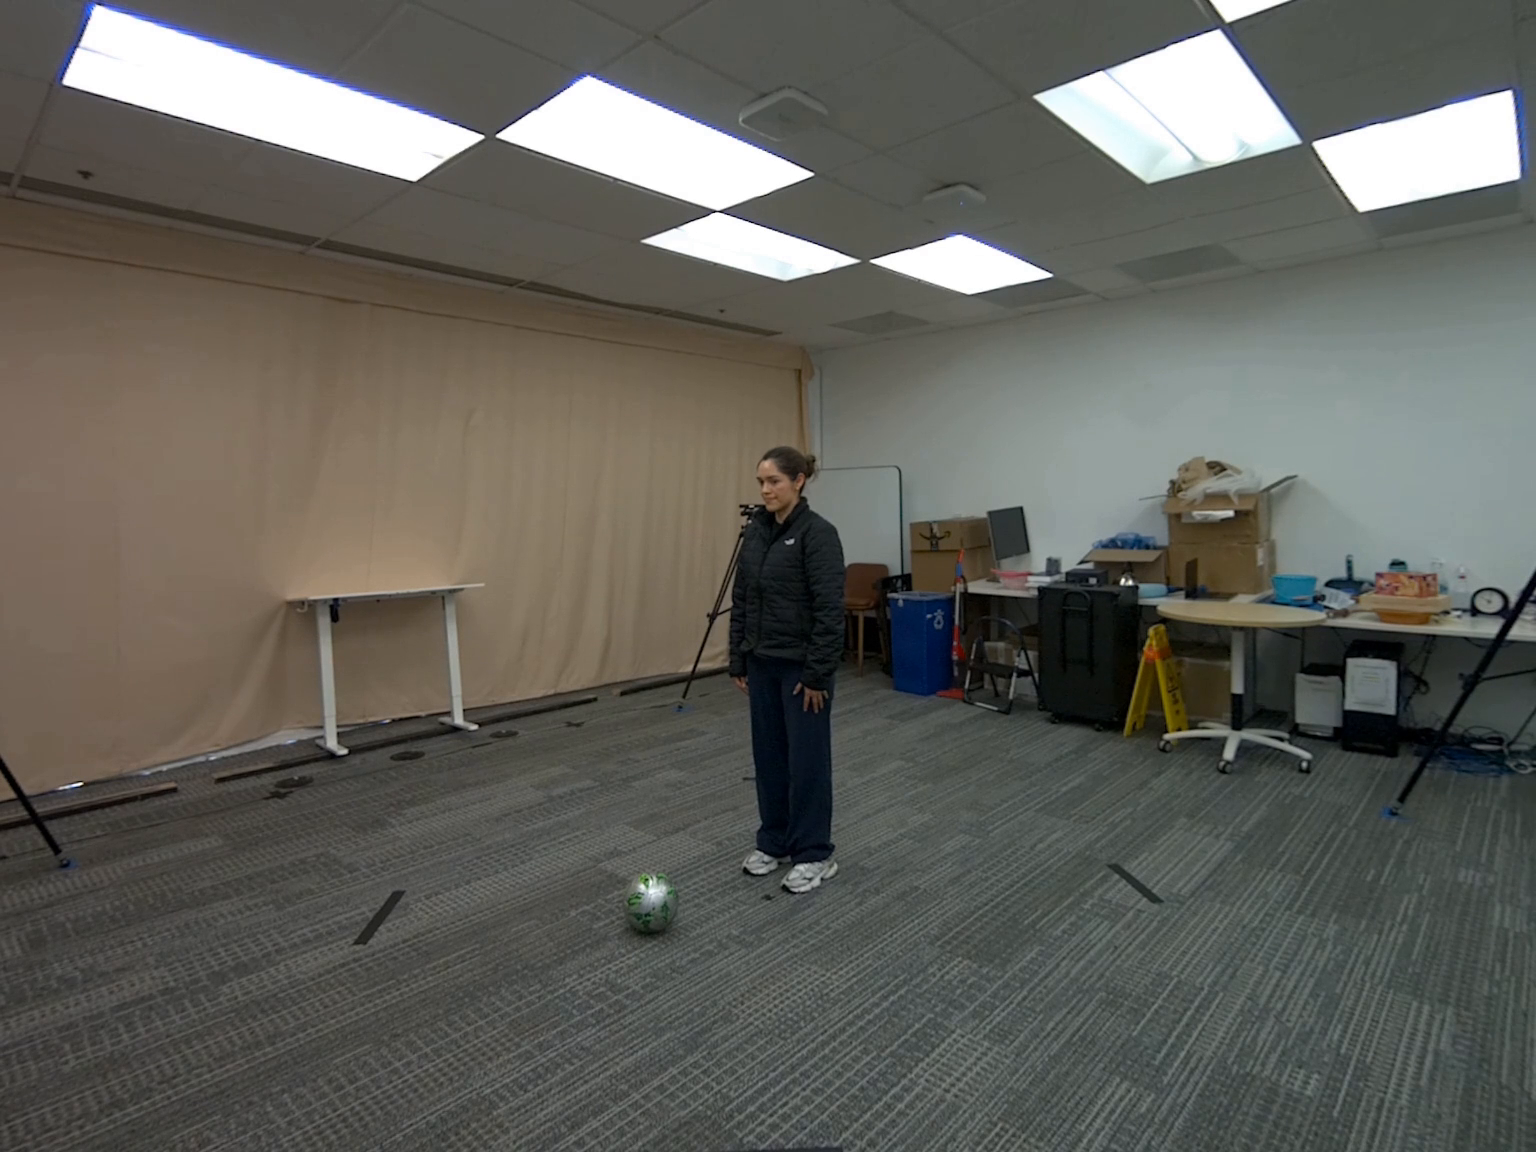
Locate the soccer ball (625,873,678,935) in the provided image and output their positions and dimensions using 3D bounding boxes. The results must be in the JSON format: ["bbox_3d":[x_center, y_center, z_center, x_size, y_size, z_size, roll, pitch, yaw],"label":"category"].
[{"bbox_3d":[-0.385,1.074,2.770,0.187,0.187,0.188,-1,4,-2],"label":"soccer ball"}]
